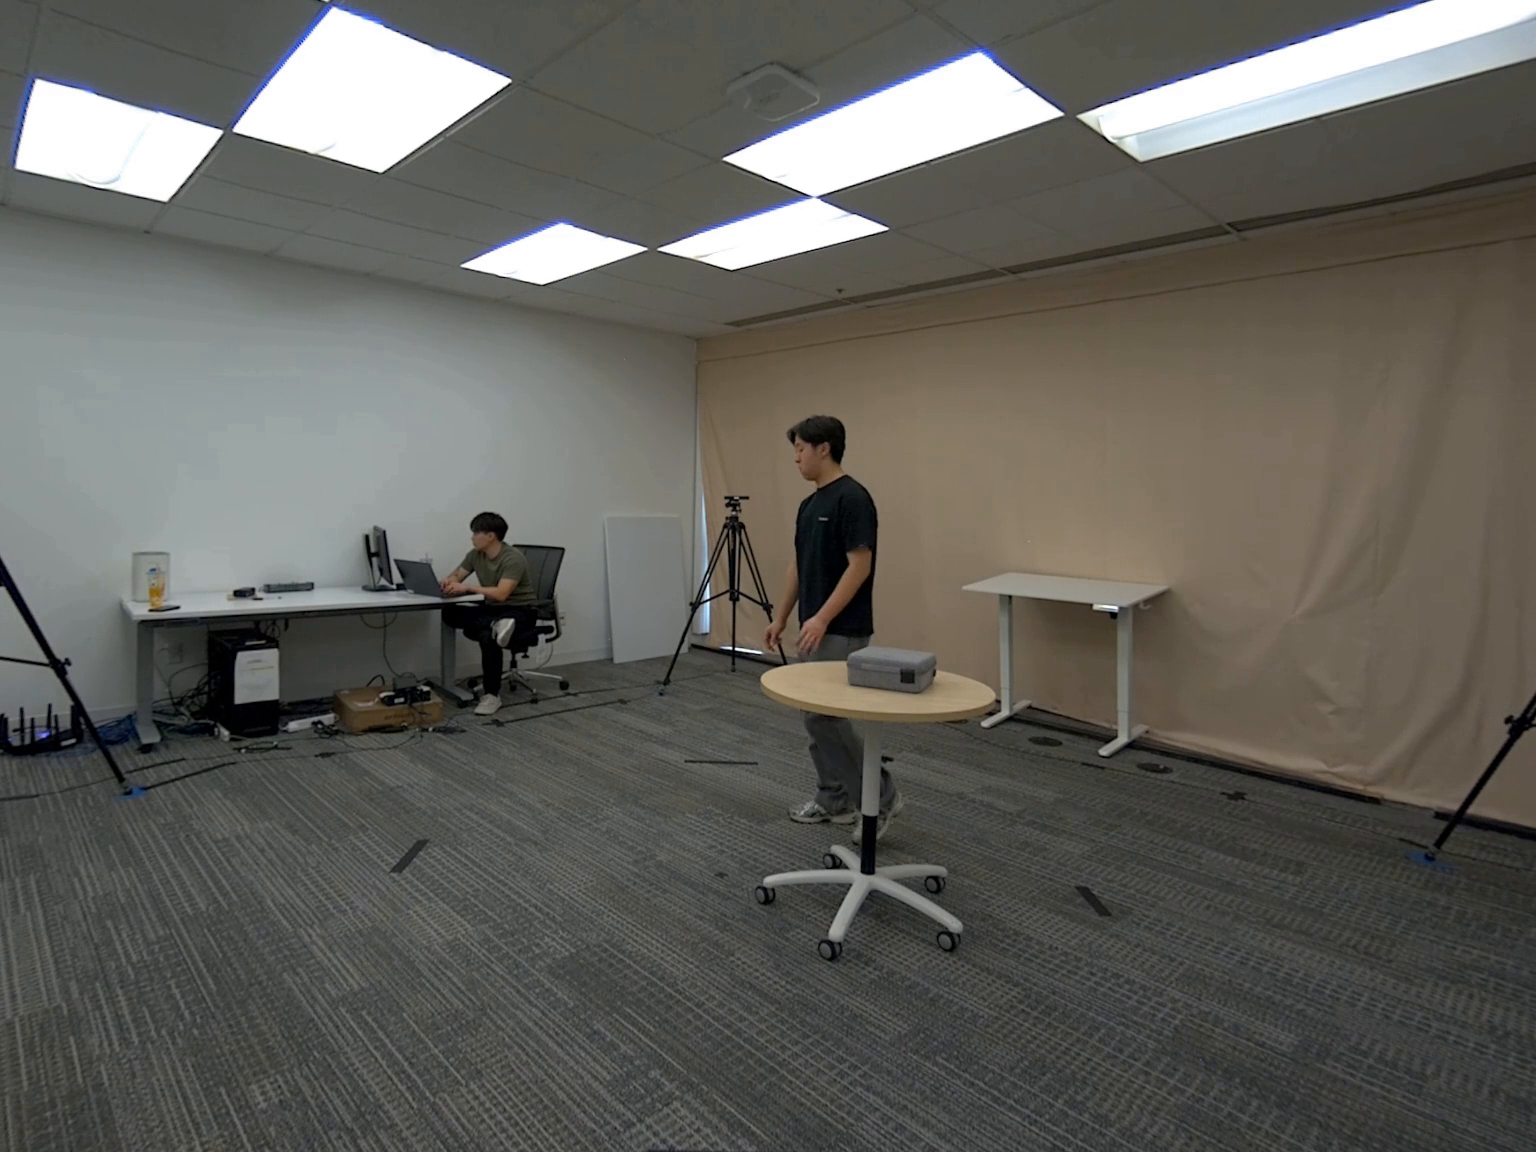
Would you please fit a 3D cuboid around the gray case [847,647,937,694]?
[{"bbox_3d":[0.412,0.312,2.830,0.268,0.103,0.282,4,5,24],"label":"gray case"}]
